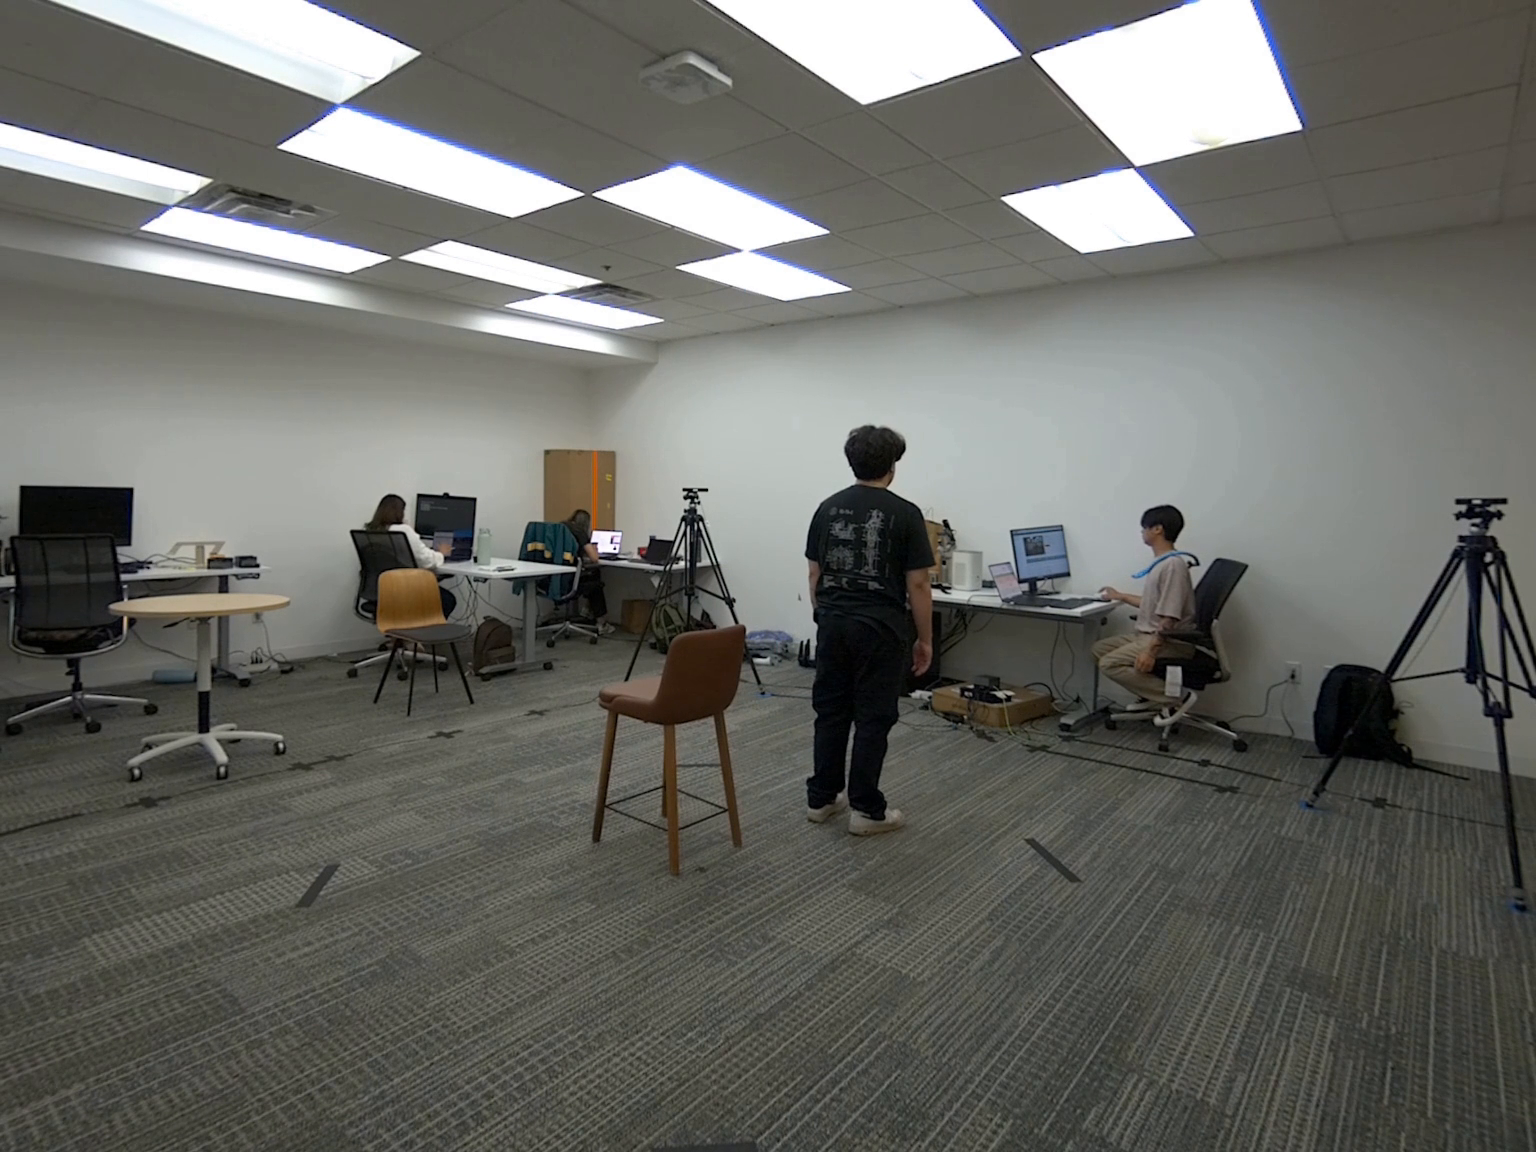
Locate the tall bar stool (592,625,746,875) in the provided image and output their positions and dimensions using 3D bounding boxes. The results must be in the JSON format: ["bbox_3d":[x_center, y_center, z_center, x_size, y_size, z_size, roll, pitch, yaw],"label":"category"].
[{"bbox_3d":[-0.395,0.615,3.309,0.483,0.887,0.443,5,5,40],"label":"tall bar stool"}]
